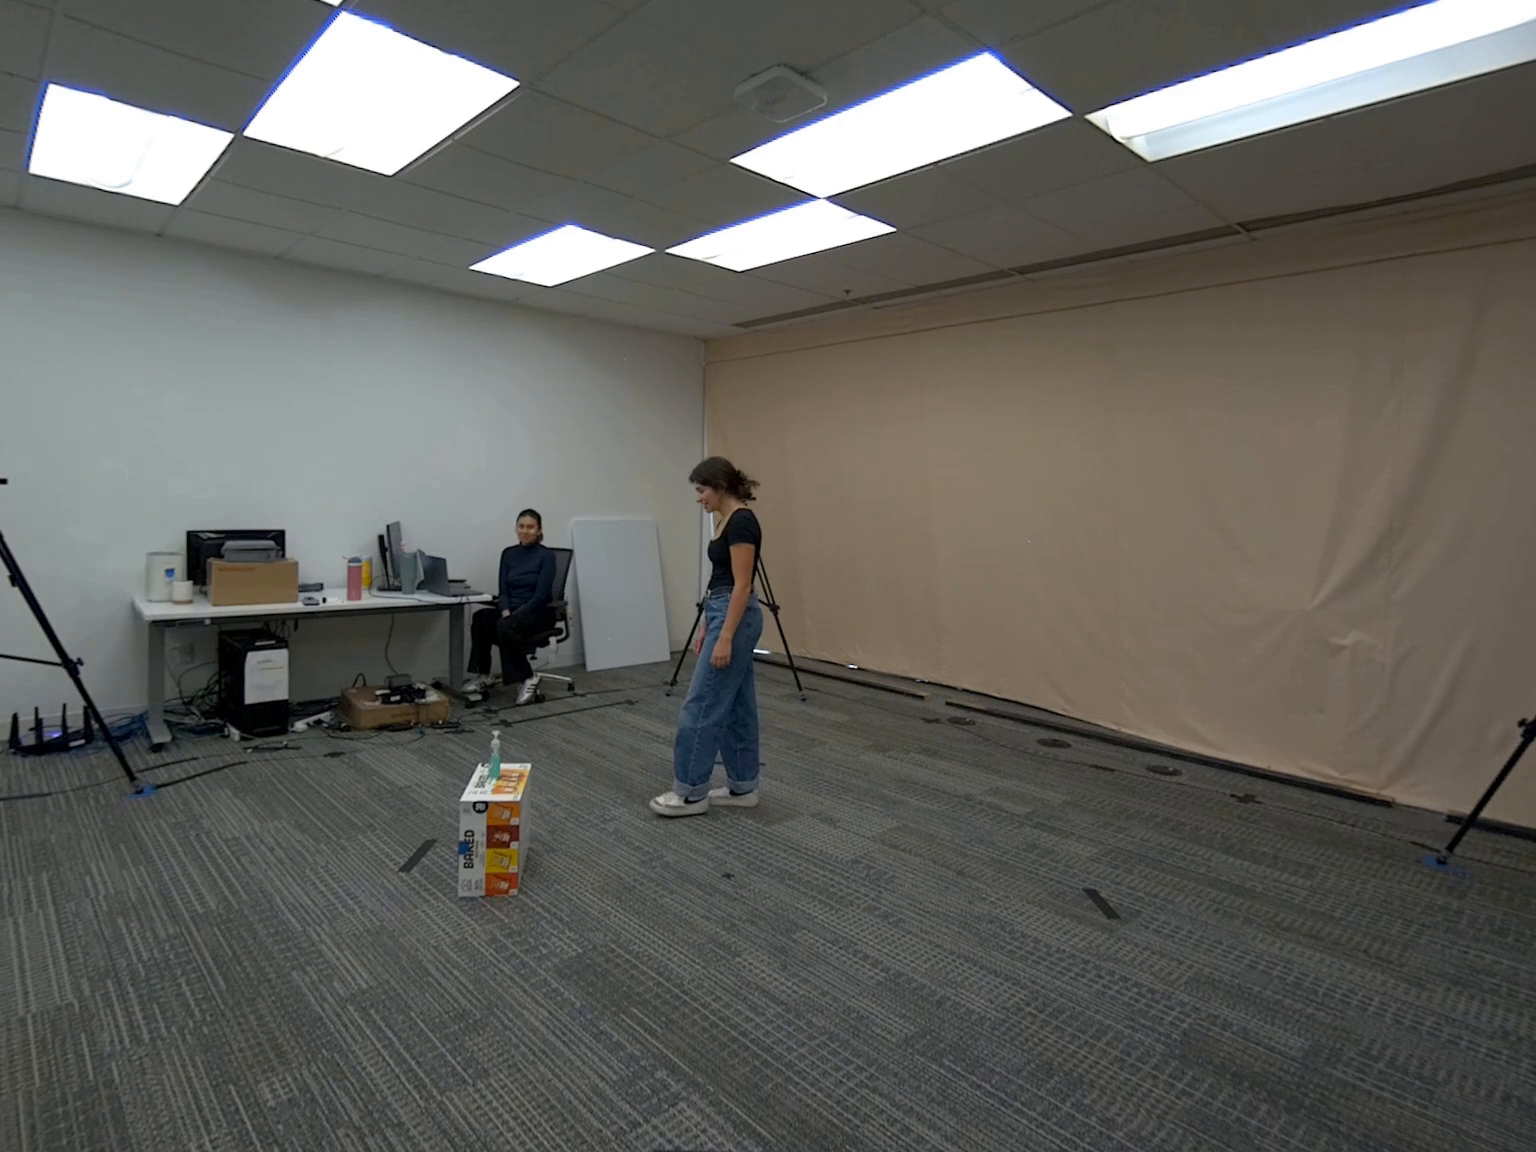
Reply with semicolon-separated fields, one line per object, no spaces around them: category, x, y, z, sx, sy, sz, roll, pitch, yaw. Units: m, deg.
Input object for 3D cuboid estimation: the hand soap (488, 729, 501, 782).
hand soap;-1.026;0.662;3.135;0.042;0.168;0.086;2;4;-23
